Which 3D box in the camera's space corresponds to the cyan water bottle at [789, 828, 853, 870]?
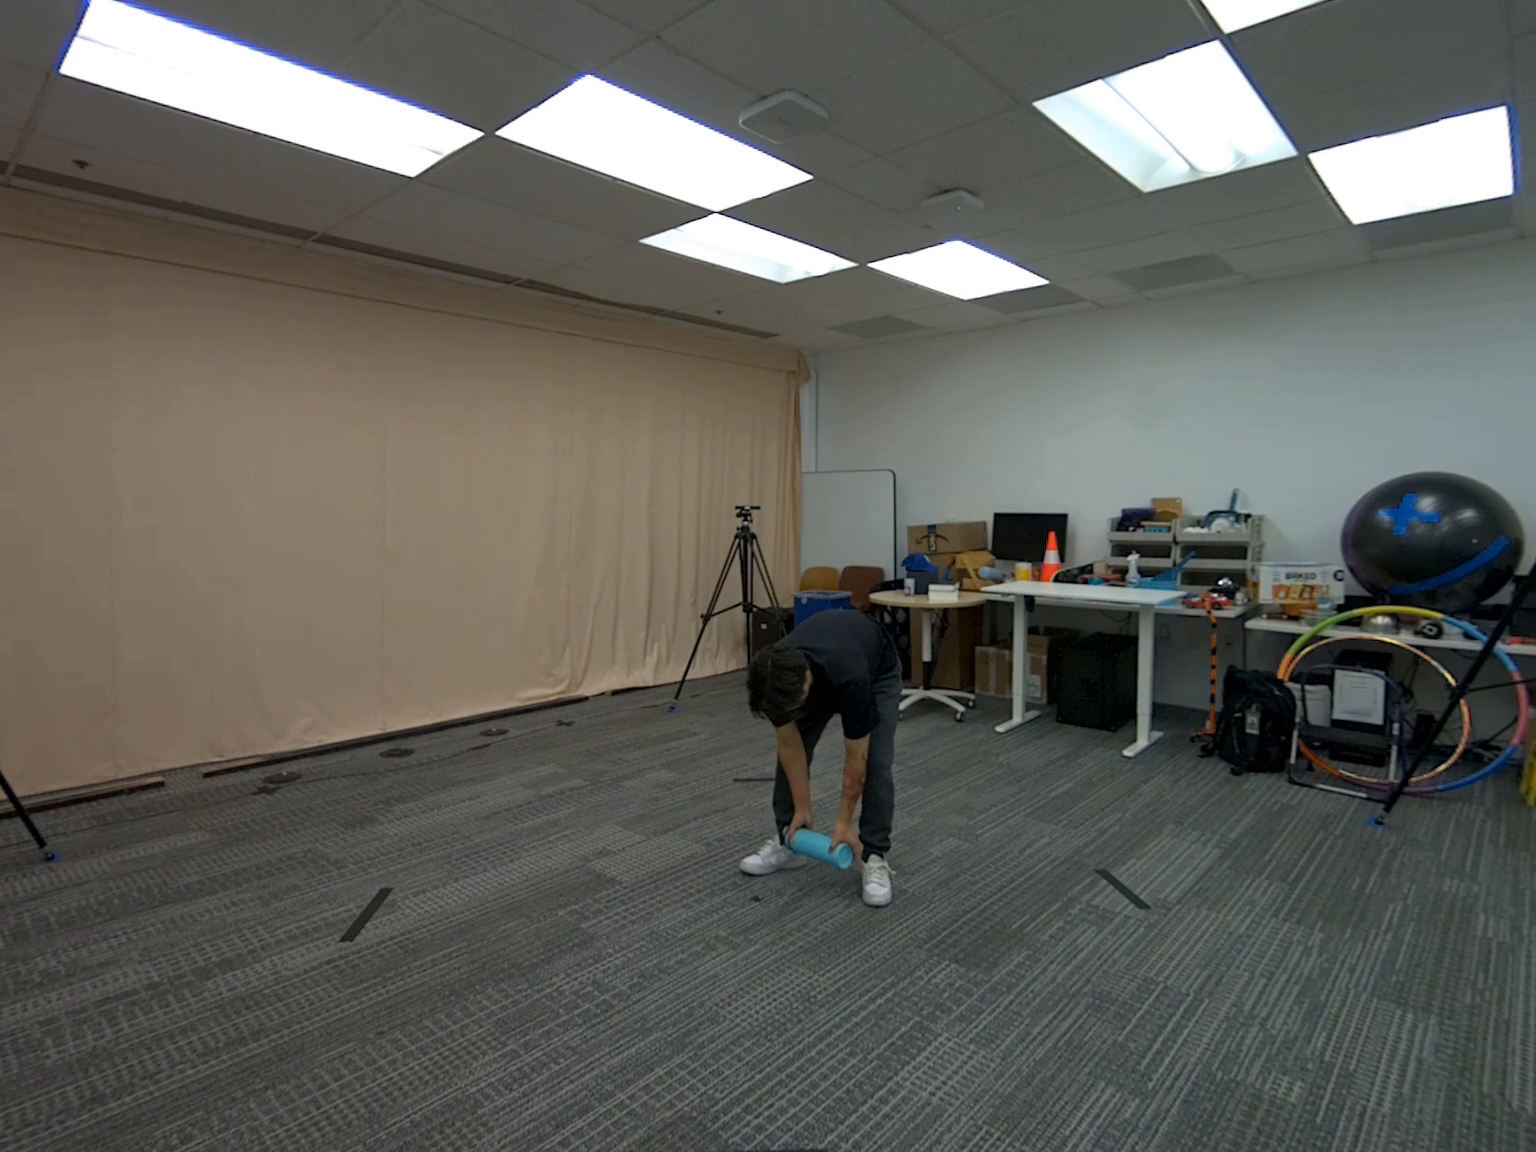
[{"bbox_3d":[0.168,0.963,3.007,0.292,0.092,0.089,0,2,45],"label":"cyan water bottle"}]
